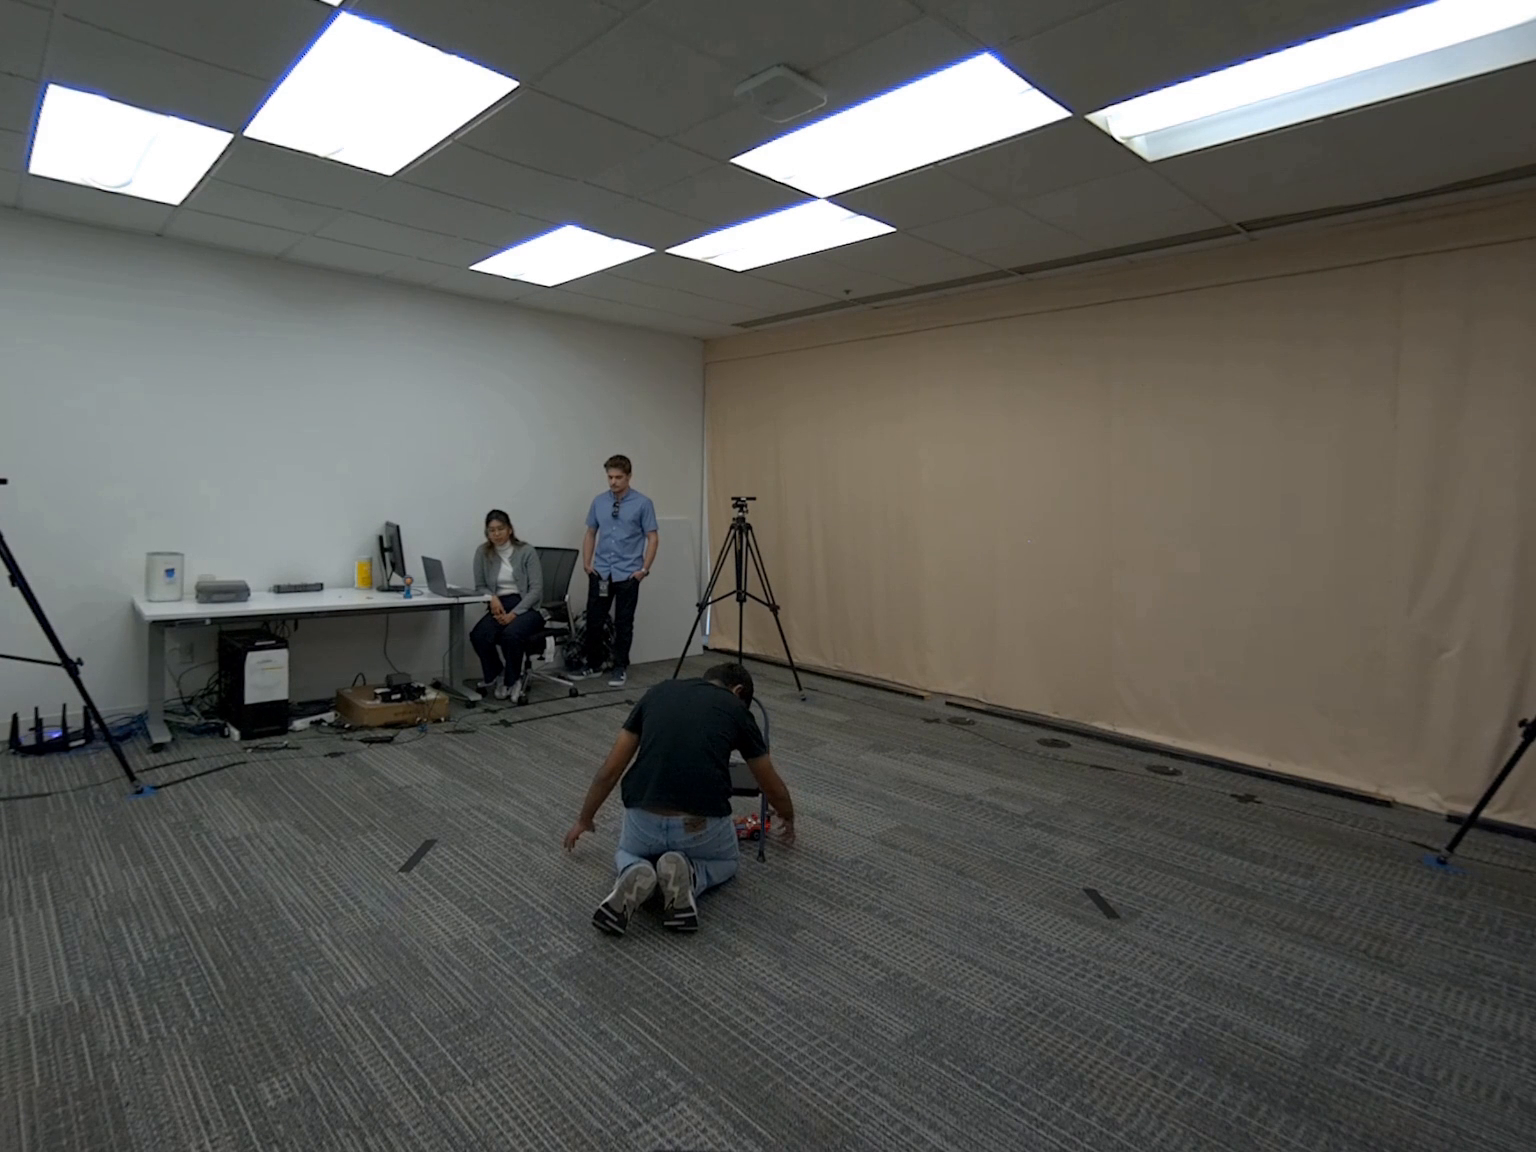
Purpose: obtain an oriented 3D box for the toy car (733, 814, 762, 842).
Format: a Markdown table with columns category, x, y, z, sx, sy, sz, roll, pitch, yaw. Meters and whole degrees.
| category | x | y | z | sx | sy | sz | roll | pitch | yaw |
| --- | --- | --- | --- | --- | --- | --- | --- | --- | --- |
| toy car | -0.120 | 1.044 | 3.478 | 0.252 | 0.083 | 0.132 | -9 | 7 | -15 |
